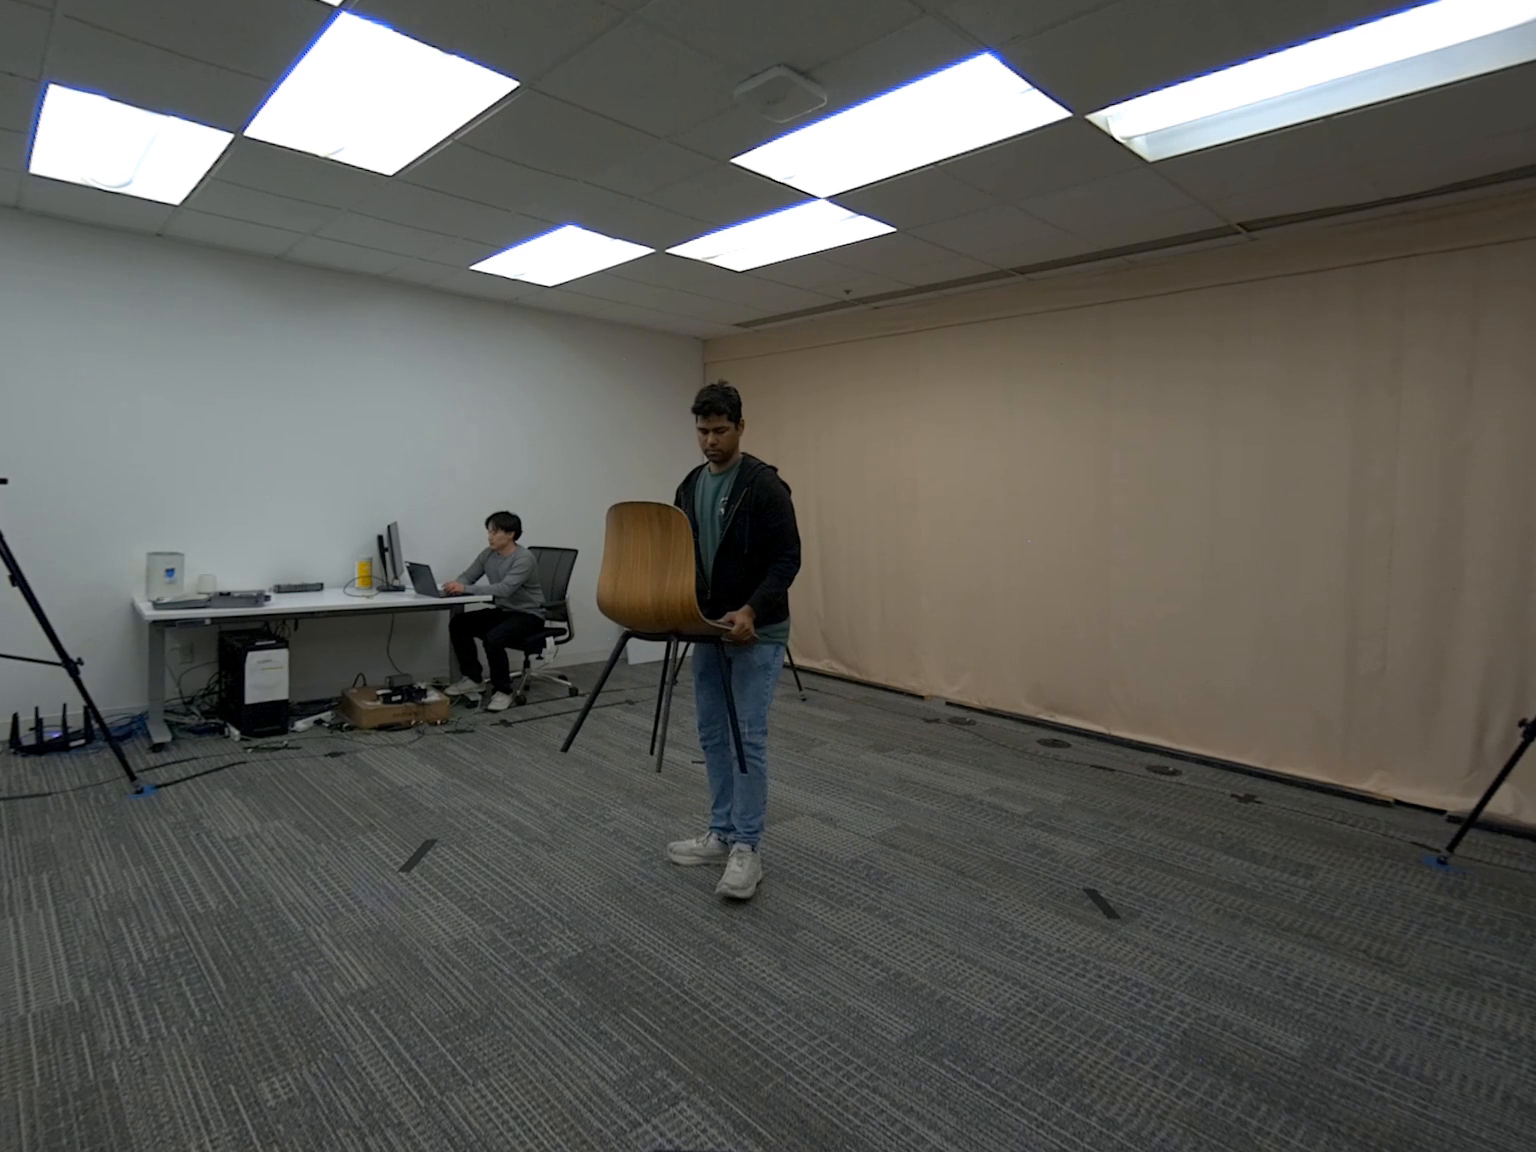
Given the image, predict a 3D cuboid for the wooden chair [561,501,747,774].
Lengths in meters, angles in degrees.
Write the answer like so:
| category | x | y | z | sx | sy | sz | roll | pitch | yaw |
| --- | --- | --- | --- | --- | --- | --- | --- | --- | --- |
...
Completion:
| category | x | y | z | sx | sy | sz | roll | pitch | yaw |
| --- | --- | --- | --- | --- | --- | --- | --- | --- | --- |
| wooden chair | -0.333 | 0.221 | 2.913 | 0.489 | 0.881 | 0.509 | -1 | -8 | 38 |
